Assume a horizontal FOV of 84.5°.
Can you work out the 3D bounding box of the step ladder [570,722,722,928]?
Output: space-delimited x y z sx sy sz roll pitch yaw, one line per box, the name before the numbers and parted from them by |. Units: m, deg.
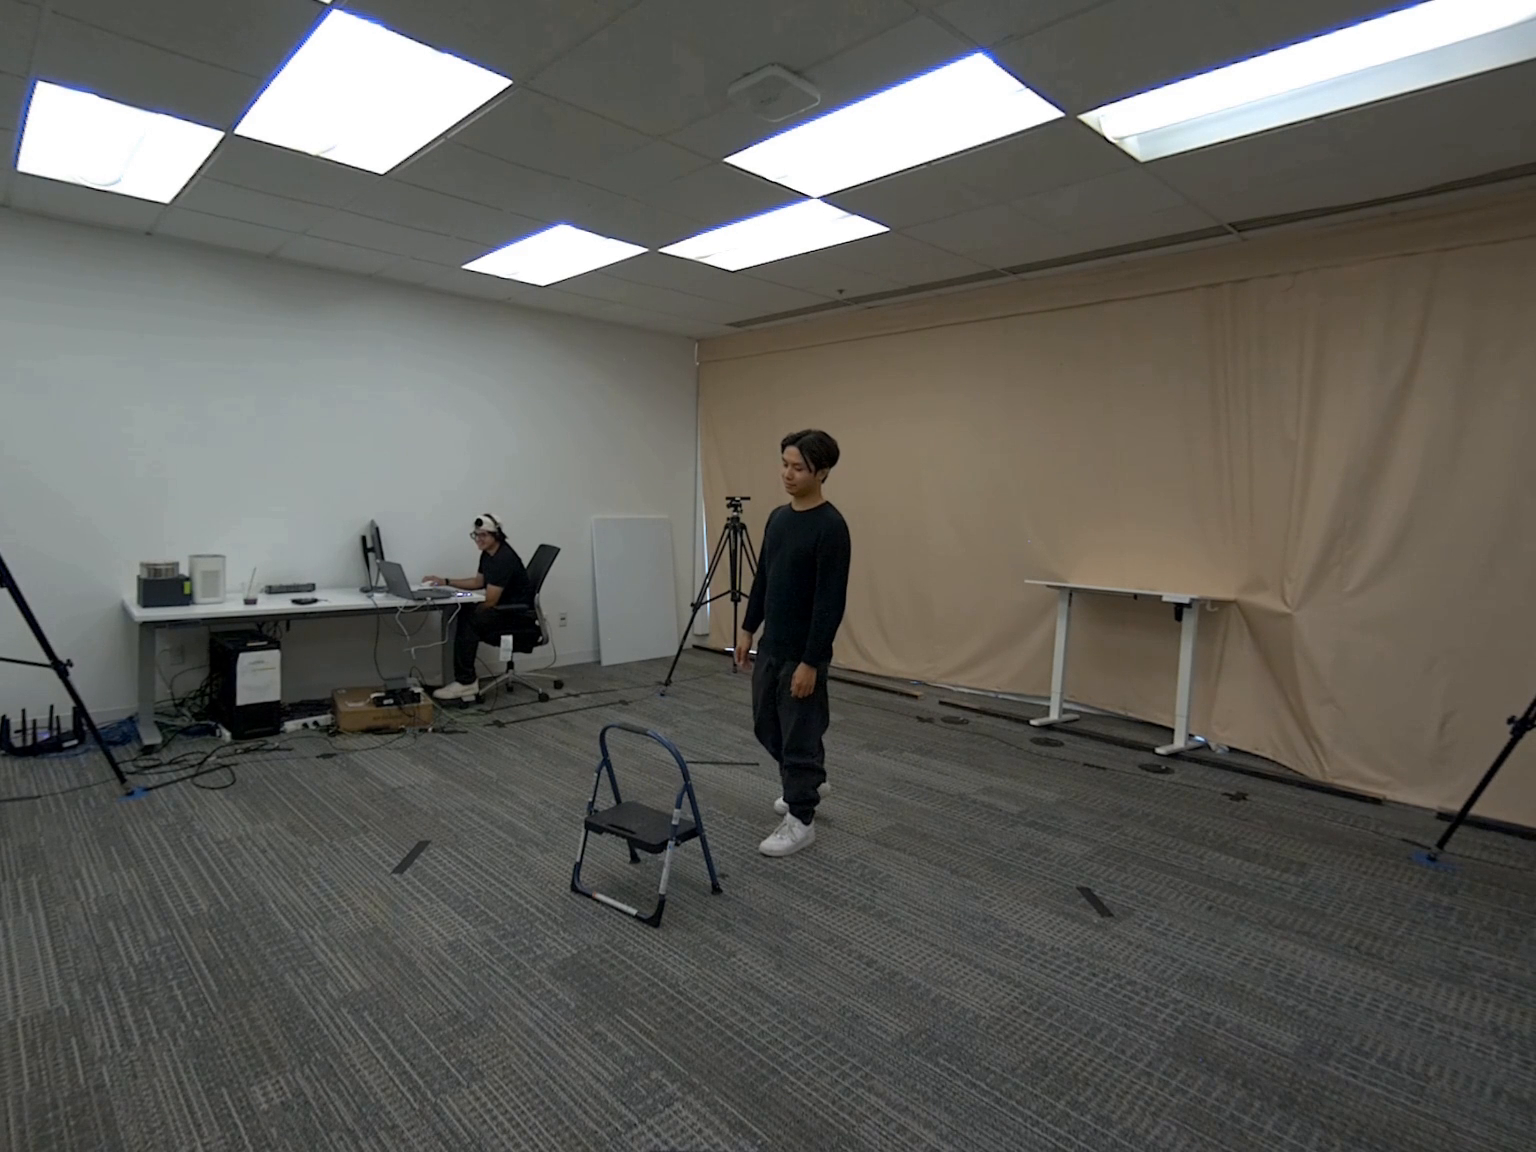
step ladder | -0.434 0.812 2.951 0.441 0.604 0.342 4 4 36
